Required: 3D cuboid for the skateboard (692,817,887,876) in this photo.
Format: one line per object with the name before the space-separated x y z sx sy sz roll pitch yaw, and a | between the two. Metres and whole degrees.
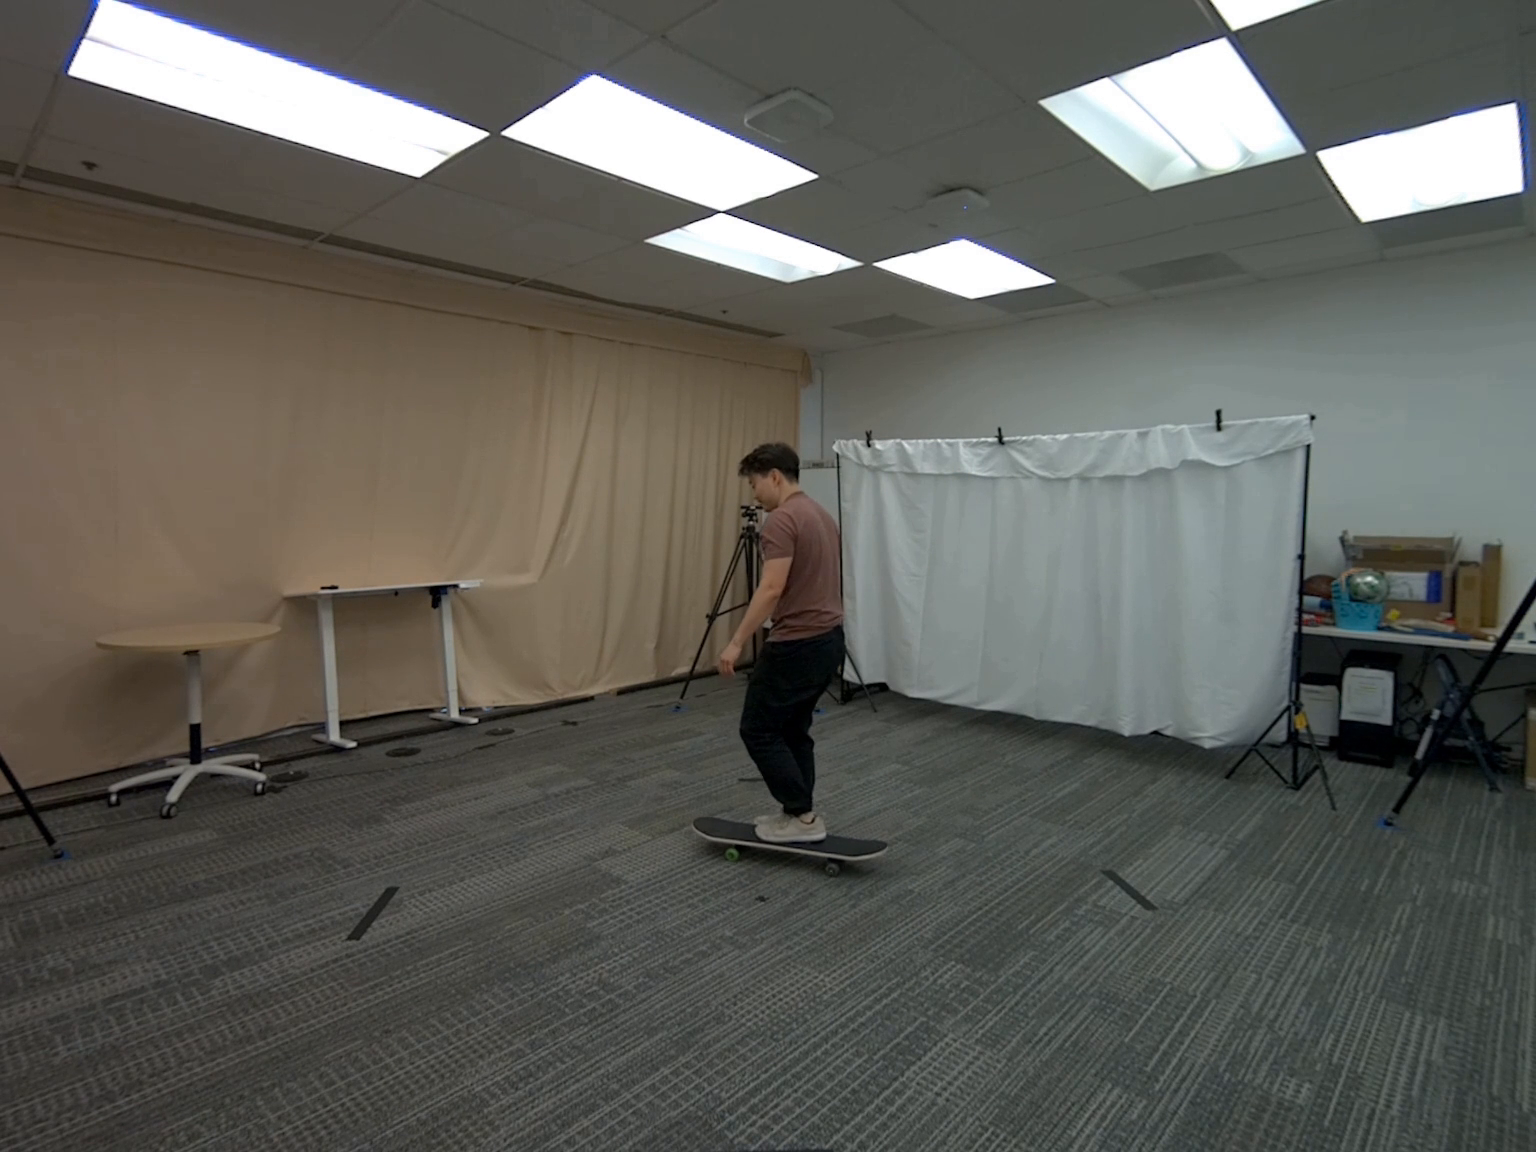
skateboard | 0.069 1.057 3.310 0.802 0.110 0.190 2 4 19
